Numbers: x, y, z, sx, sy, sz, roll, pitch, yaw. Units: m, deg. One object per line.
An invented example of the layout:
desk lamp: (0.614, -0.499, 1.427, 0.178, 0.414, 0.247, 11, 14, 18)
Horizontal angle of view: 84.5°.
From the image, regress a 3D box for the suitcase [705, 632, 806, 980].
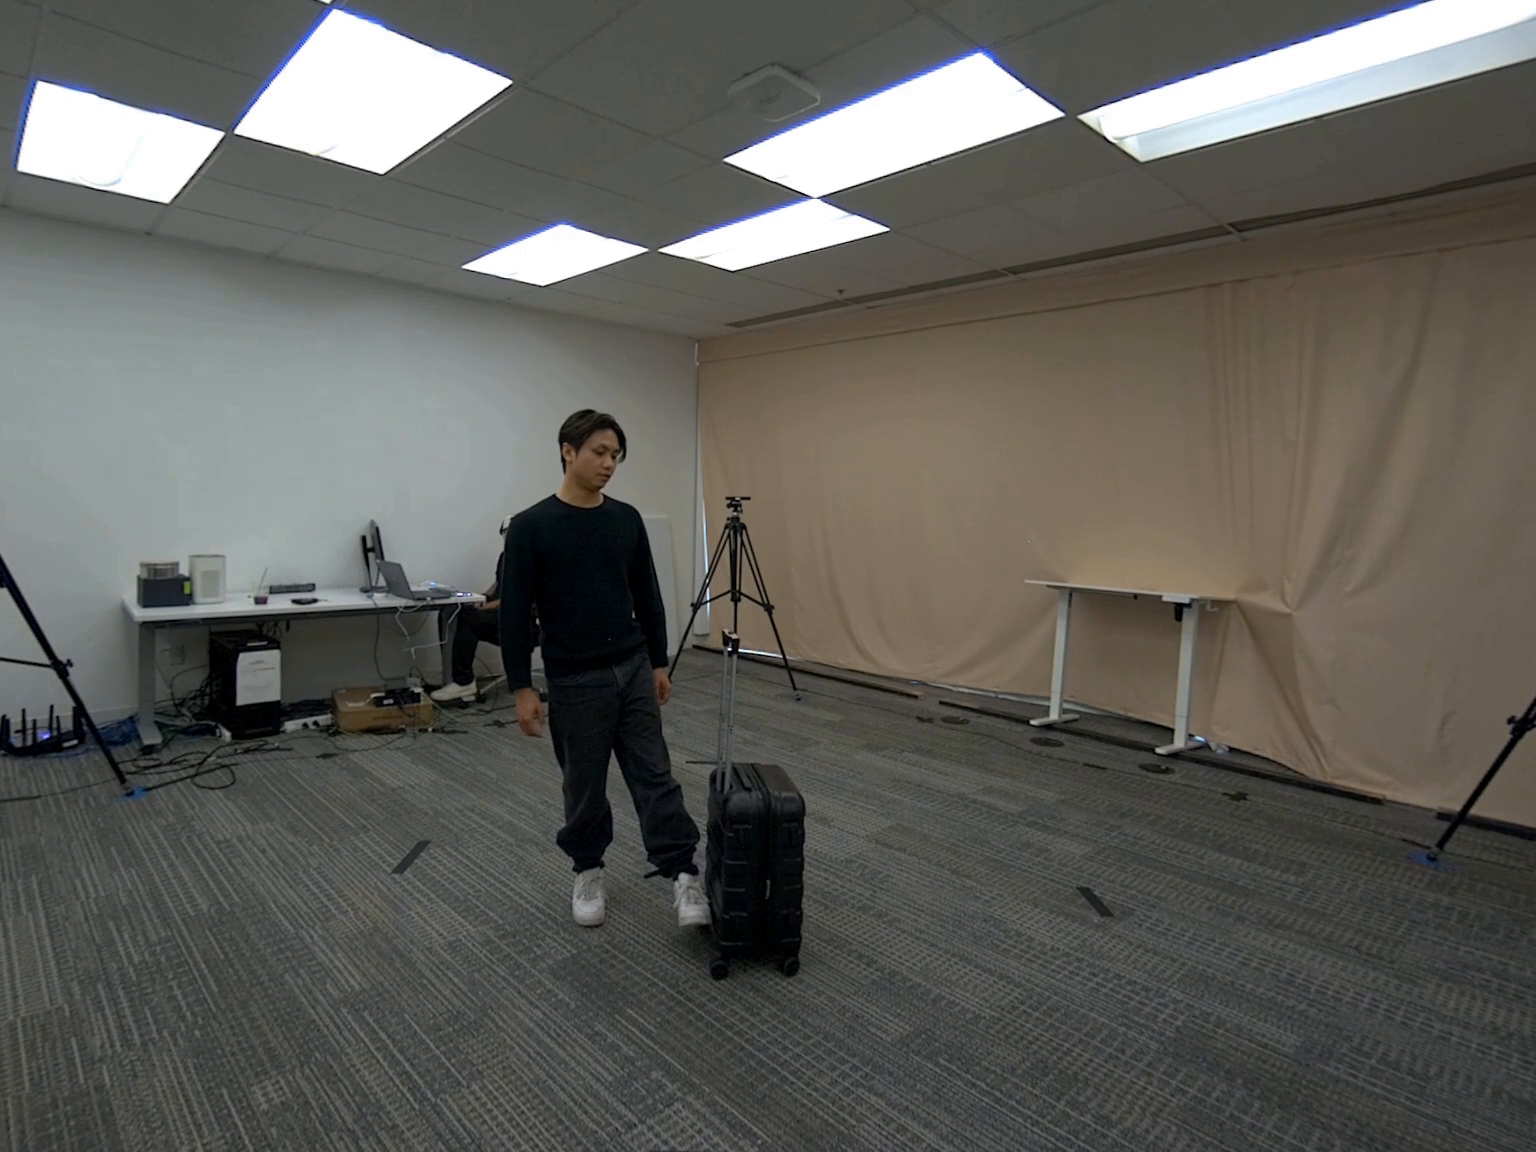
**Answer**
suitcase: (-0.041, 0.682, 2.582, 0.255, 0.976, 0.388, 4, 3, -11)
